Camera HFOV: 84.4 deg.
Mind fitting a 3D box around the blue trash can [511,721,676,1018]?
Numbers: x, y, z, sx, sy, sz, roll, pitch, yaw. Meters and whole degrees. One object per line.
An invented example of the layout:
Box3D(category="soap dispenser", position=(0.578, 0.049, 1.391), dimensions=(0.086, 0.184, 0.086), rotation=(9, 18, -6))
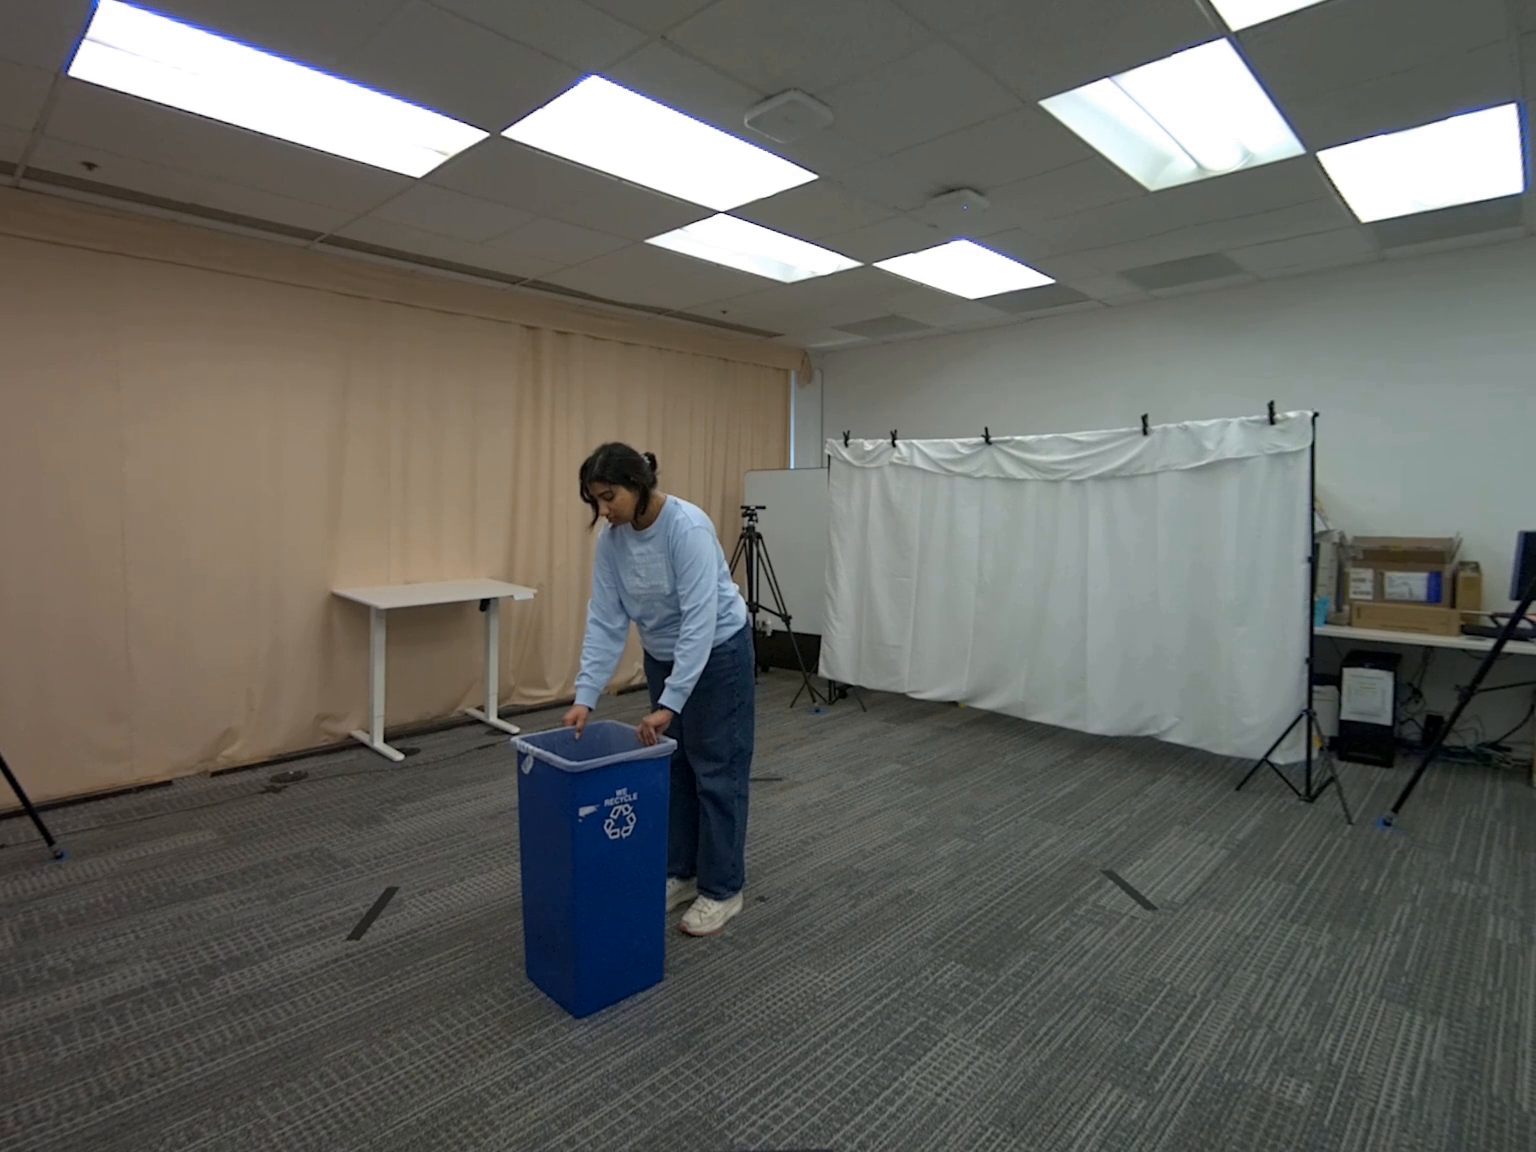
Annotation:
Box3D(category="blue trash can", position=(-0.512, 0.833, 2.476), dimensions=(0.362, 0.712, 0.391), rotation=(-4, 5, -44))
